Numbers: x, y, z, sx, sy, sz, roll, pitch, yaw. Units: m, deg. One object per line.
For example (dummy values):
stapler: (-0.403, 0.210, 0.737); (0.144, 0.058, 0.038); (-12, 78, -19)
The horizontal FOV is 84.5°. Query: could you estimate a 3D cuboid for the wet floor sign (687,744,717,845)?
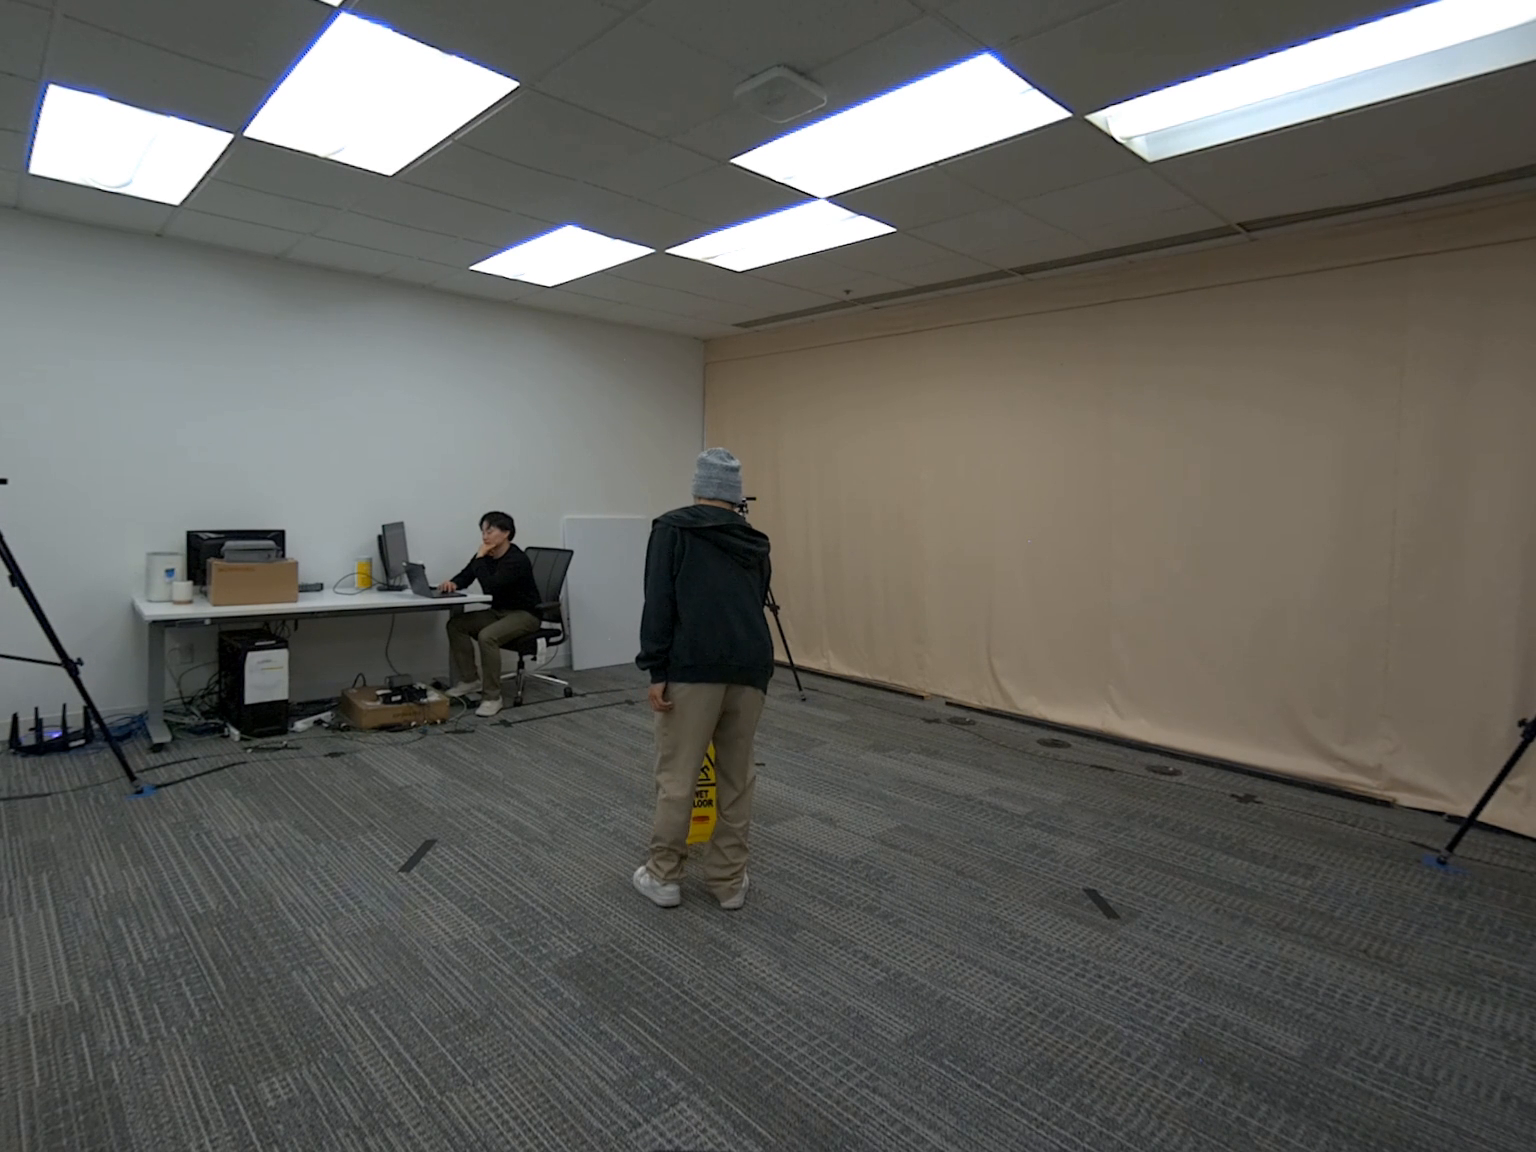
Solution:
wet floor sign: (-0.291, 0.759, 3.313); (0.279, 0.646, 0.293); (2, 1, -14)
